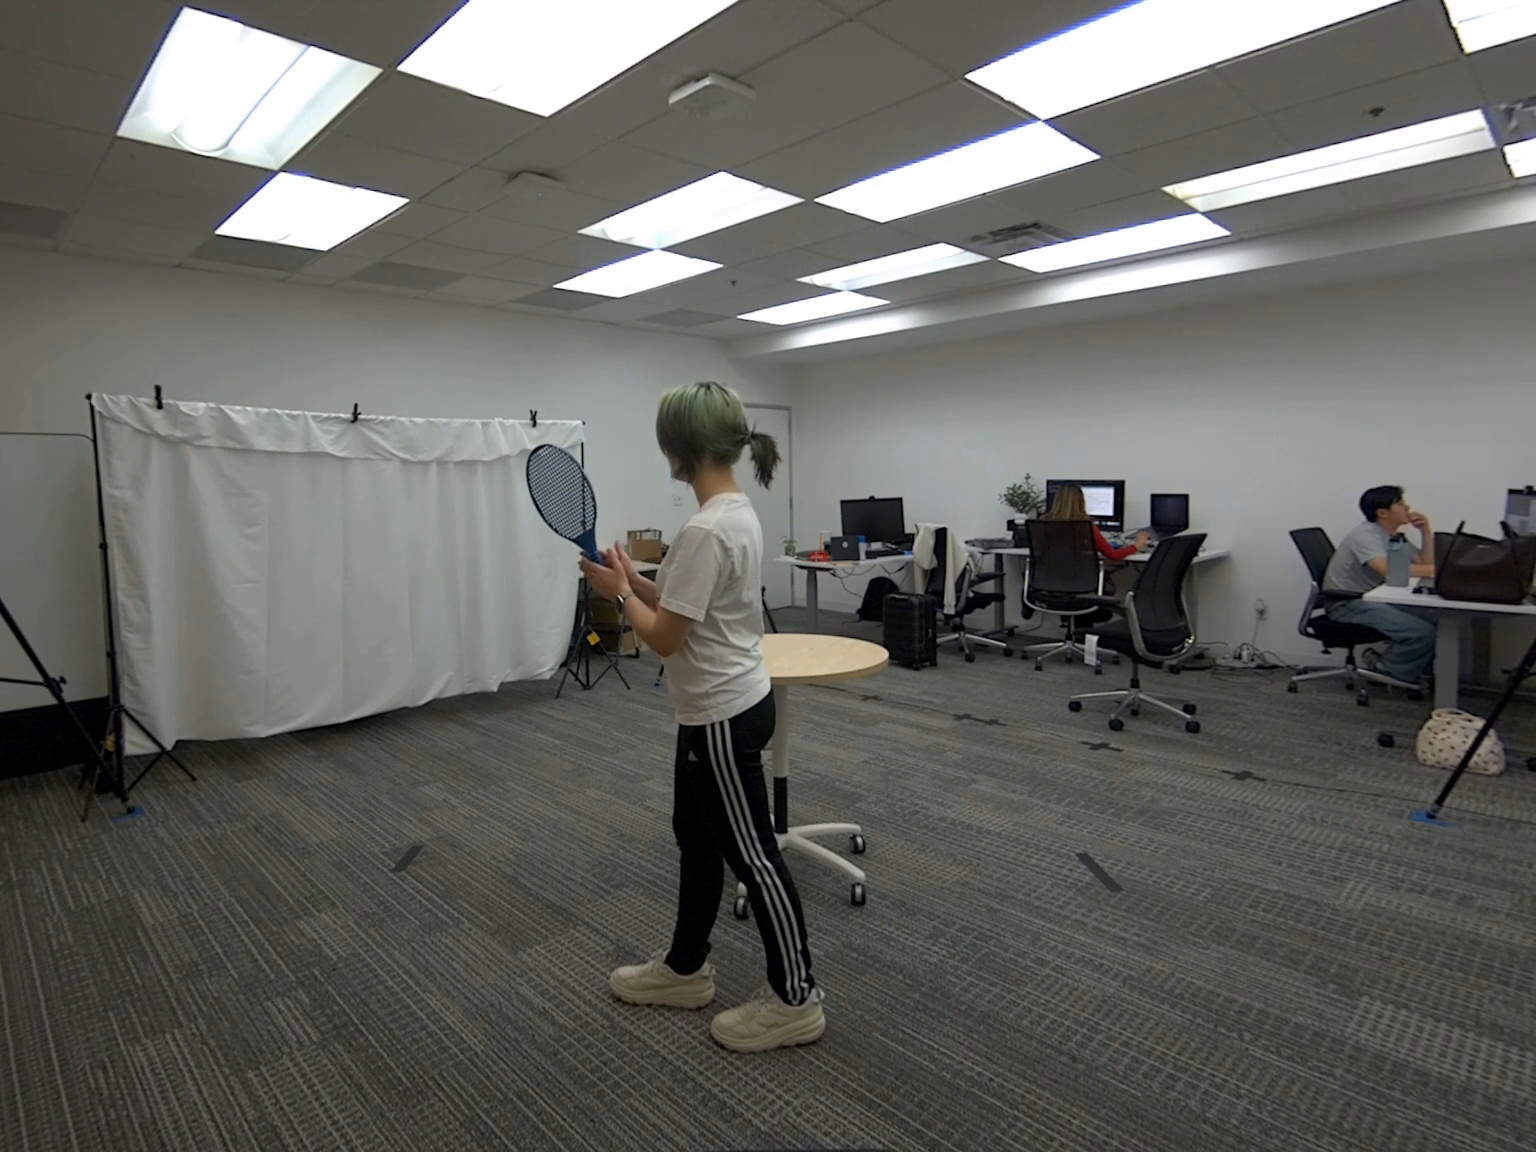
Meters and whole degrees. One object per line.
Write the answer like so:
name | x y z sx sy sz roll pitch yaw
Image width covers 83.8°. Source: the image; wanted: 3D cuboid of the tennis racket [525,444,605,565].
tennis racket | -0.492 -0.146 2.222 0.216 0.433 0.031 -30 -1 38
